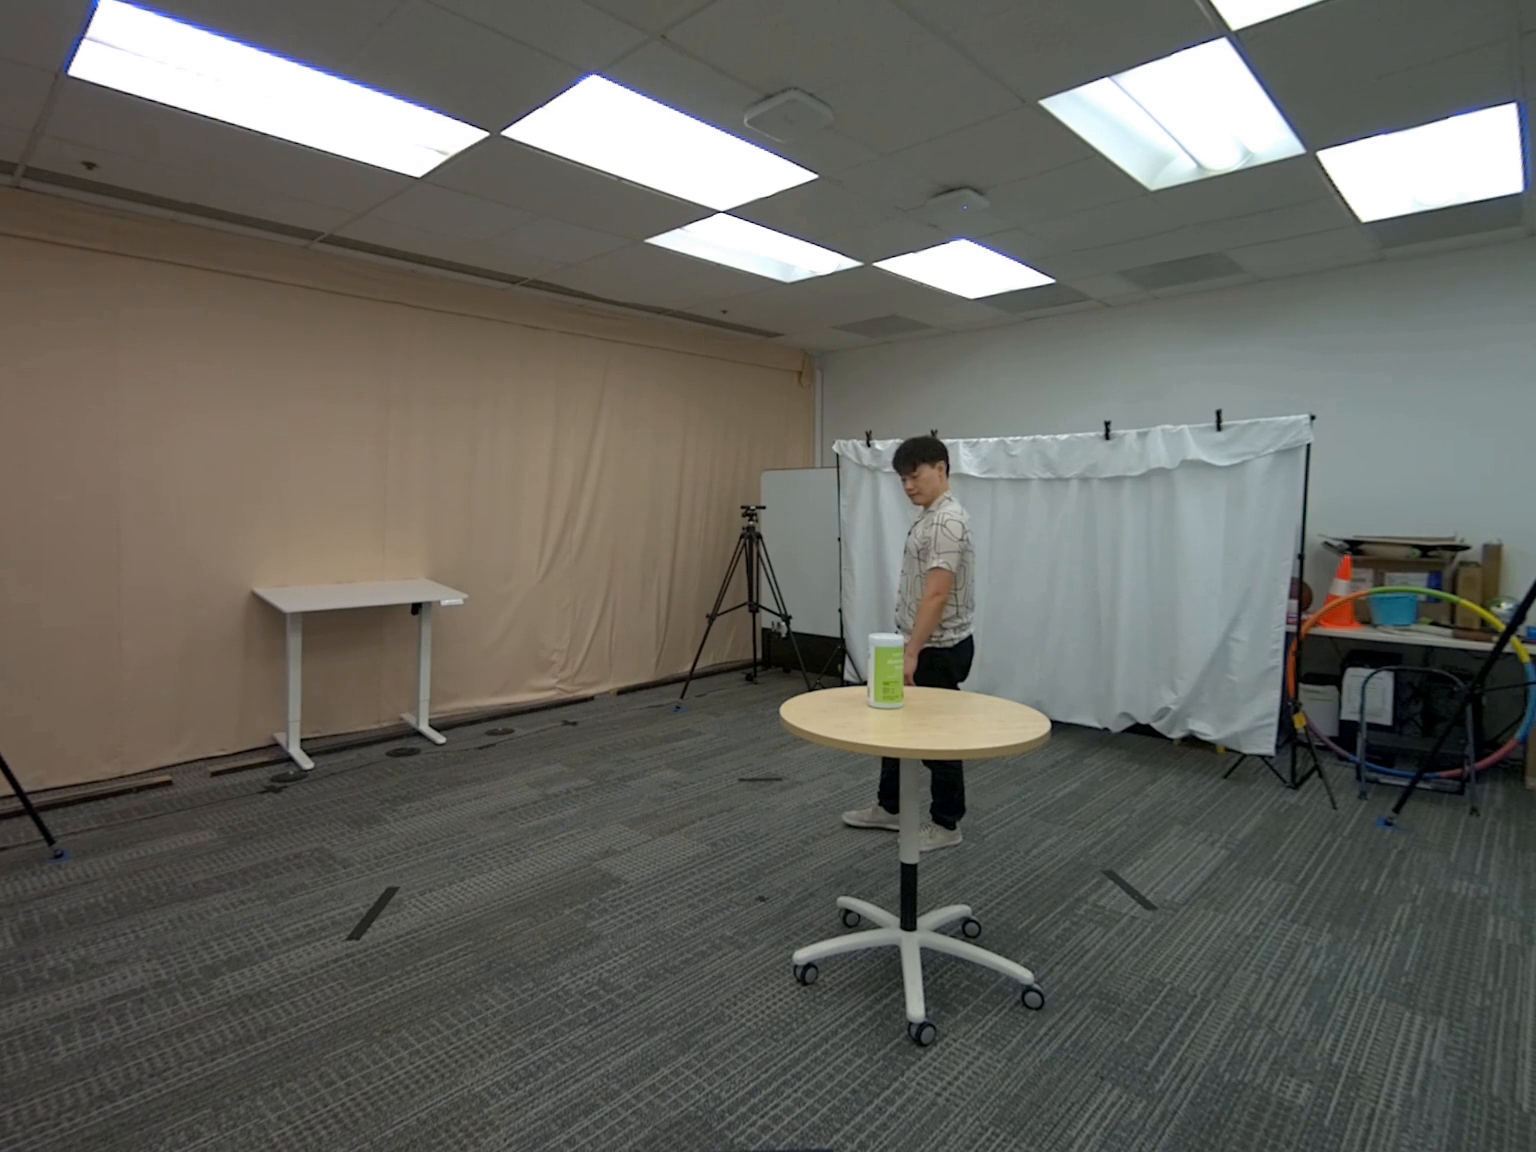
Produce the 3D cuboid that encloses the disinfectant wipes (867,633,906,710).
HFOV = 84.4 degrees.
[{"bbox_3d":[0.360,0.289,2.551,0.118,0.217,0.118,0,3,-2],"label":"disinfectant wipes"}]
